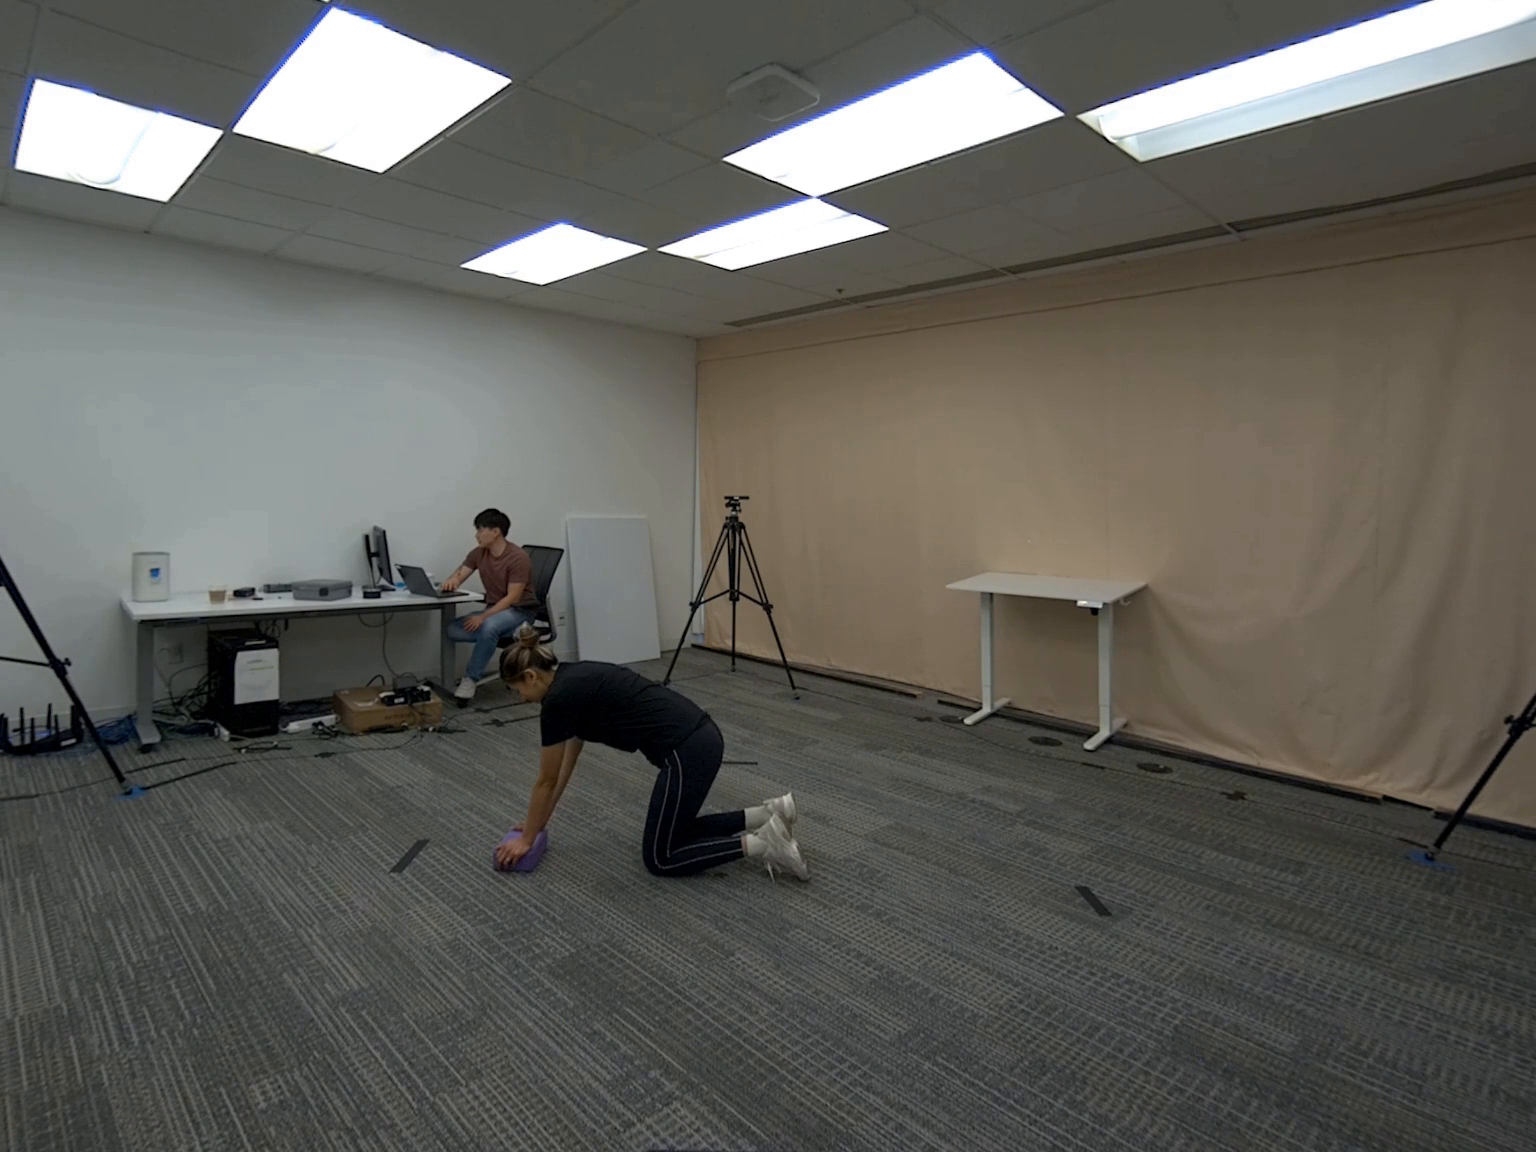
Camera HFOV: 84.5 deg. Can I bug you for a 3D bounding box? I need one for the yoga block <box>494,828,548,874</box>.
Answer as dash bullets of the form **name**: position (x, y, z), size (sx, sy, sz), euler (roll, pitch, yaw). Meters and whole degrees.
- **yoga block**: position (-0.938, 1.034, 3.202), size (0.149, 0.076, 0.229), euler (1, 4, 1)
